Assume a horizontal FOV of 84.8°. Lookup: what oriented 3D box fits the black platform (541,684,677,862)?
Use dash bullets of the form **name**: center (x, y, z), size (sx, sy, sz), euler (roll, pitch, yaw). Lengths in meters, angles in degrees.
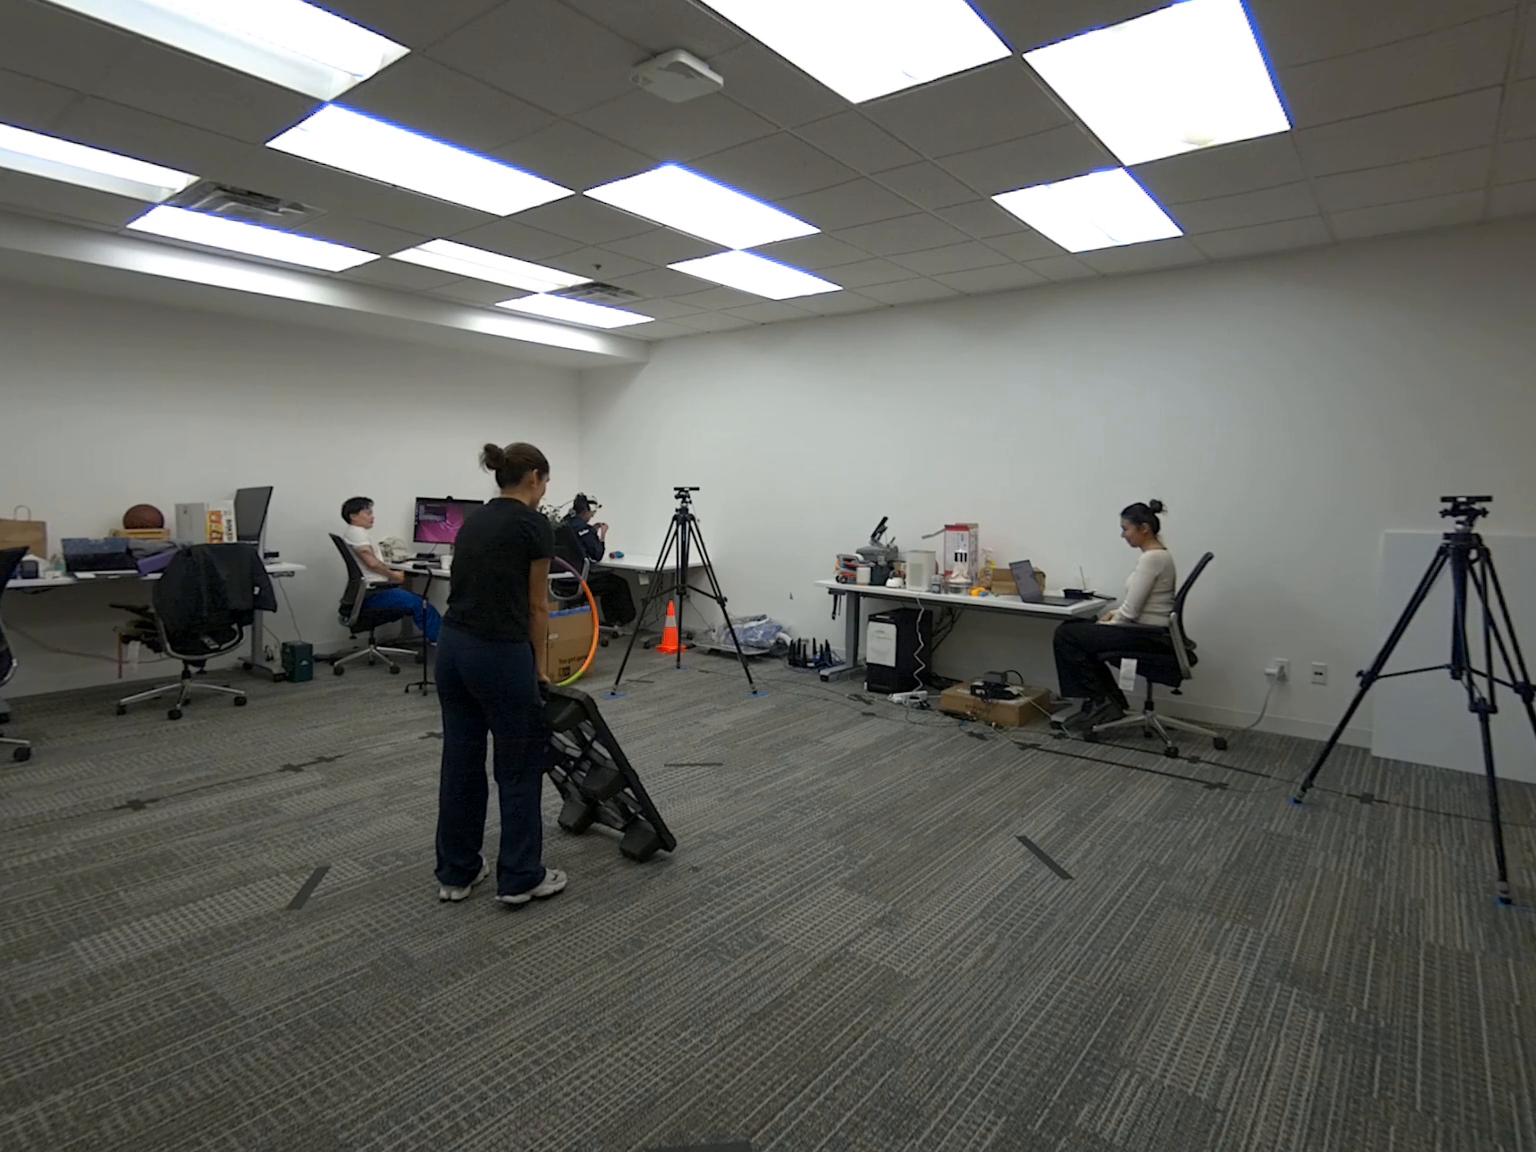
- **black platform**: center (-0.715, 0.712, 3.187), size (0.626, 0.780, 0.143), euler (5, 38, 42)
